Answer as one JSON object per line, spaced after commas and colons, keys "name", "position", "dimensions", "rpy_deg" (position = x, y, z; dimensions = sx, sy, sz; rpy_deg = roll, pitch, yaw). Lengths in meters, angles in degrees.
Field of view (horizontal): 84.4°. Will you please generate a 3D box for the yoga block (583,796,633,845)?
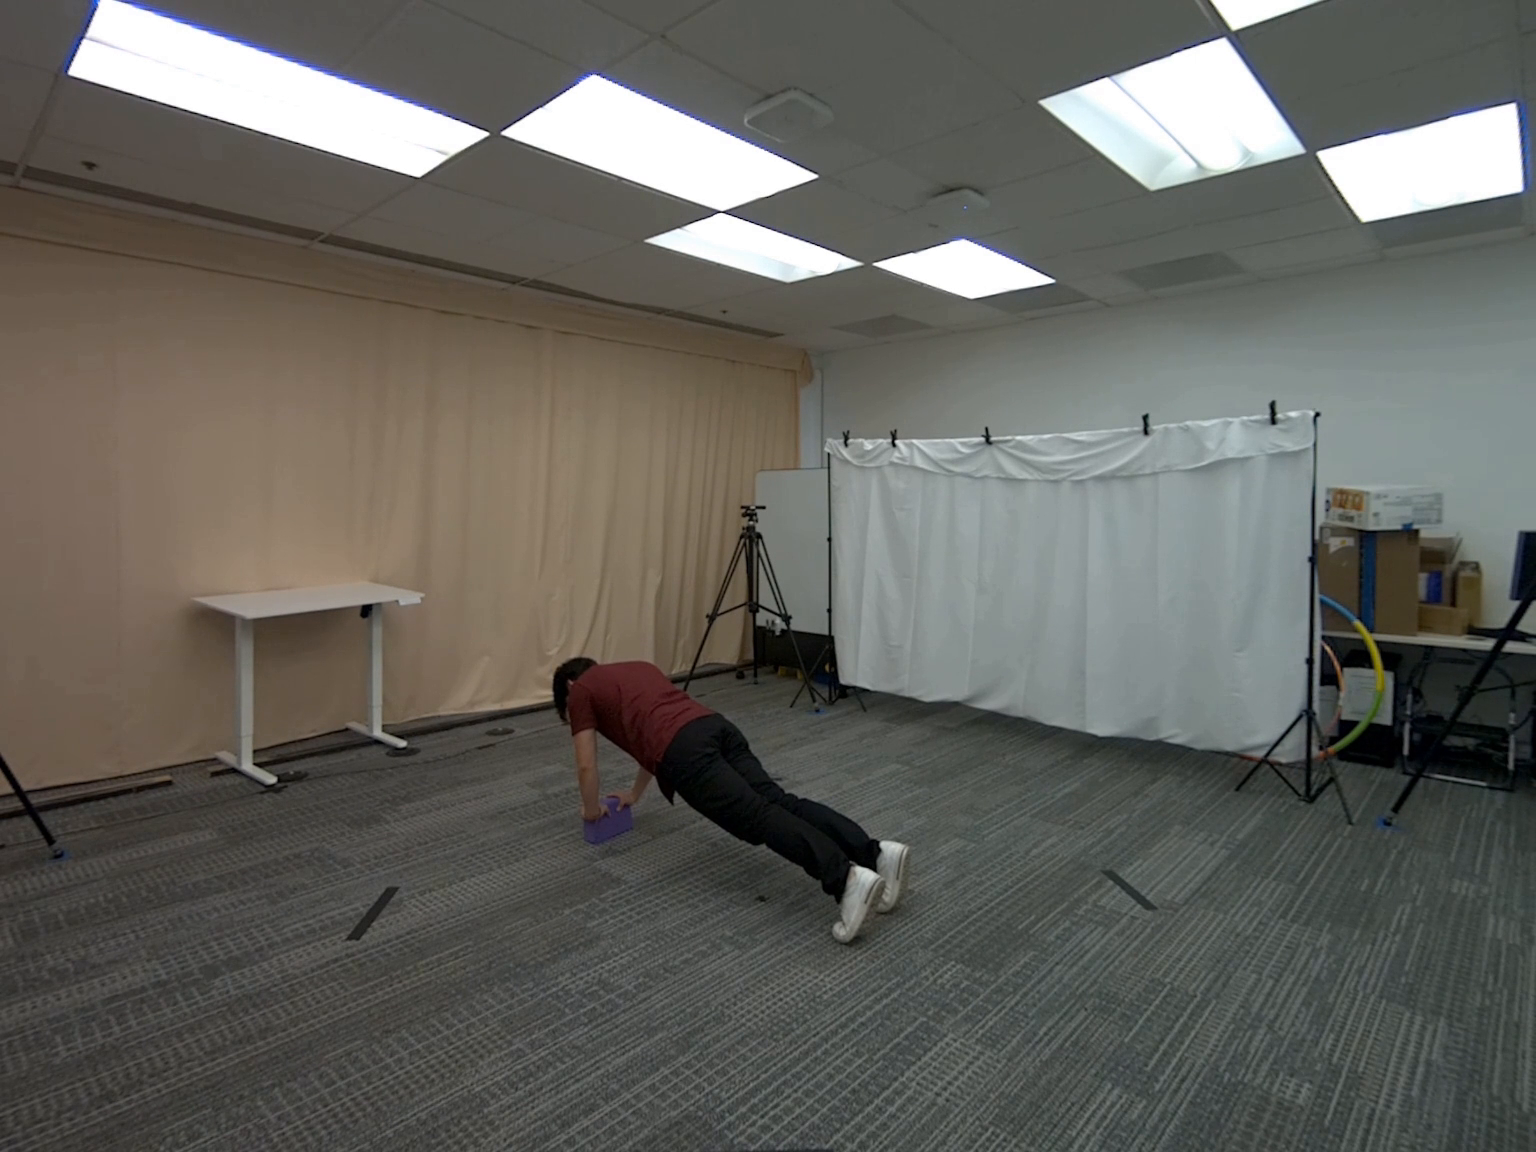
{"name": "yoga block", "position": [-0.686, 1.034, 3.581], "dimensions": [0.078, 0.149, 0.223], "rpy_deg": [-8, 0, 35]}
